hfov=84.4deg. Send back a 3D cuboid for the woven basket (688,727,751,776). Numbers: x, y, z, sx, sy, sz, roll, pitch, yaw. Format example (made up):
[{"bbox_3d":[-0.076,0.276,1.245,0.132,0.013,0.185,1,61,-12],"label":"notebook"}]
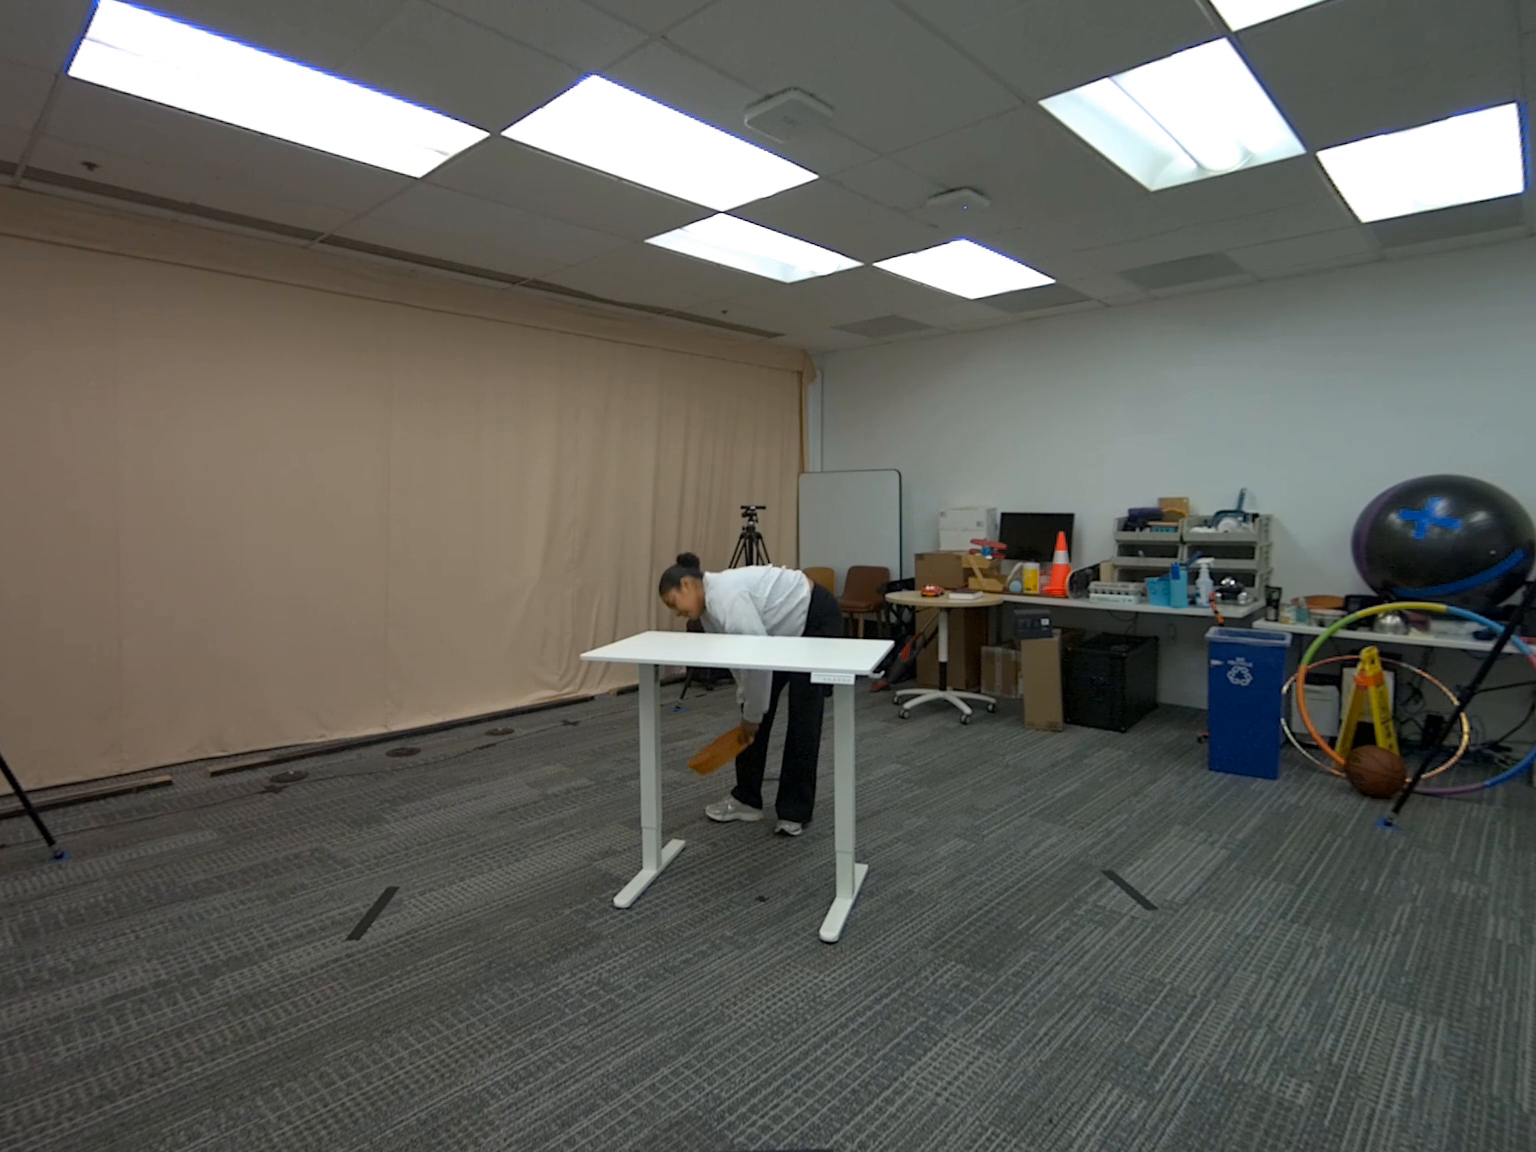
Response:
[{"bbox_3d":[-0.192,0.718,3.555,0.345,0.073,0.256,-33,0,-33],"label":"woven basket"}]
